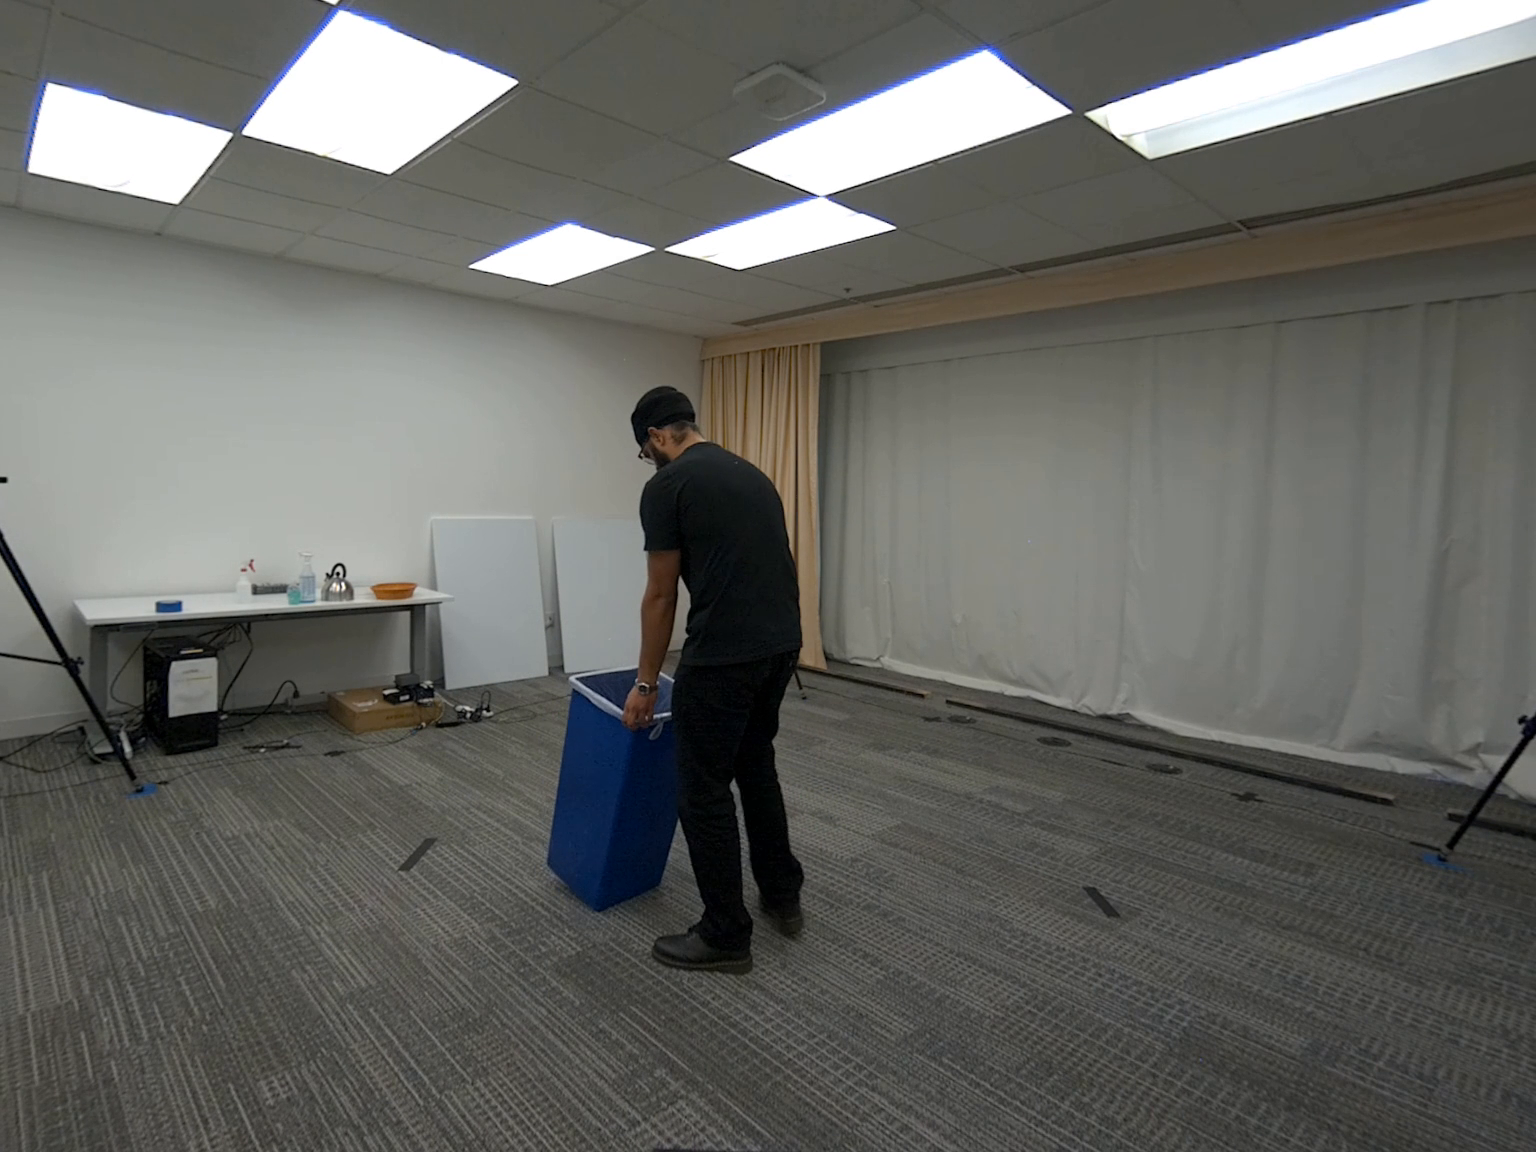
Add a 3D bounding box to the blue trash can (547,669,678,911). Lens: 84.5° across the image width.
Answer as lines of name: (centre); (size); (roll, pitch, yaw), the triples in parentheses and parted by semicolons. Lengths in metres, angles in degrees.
blue trash can: (-0.503, 0.730, 2.922); (0.385, 0.709, 0.369); (22, 15, 37)
